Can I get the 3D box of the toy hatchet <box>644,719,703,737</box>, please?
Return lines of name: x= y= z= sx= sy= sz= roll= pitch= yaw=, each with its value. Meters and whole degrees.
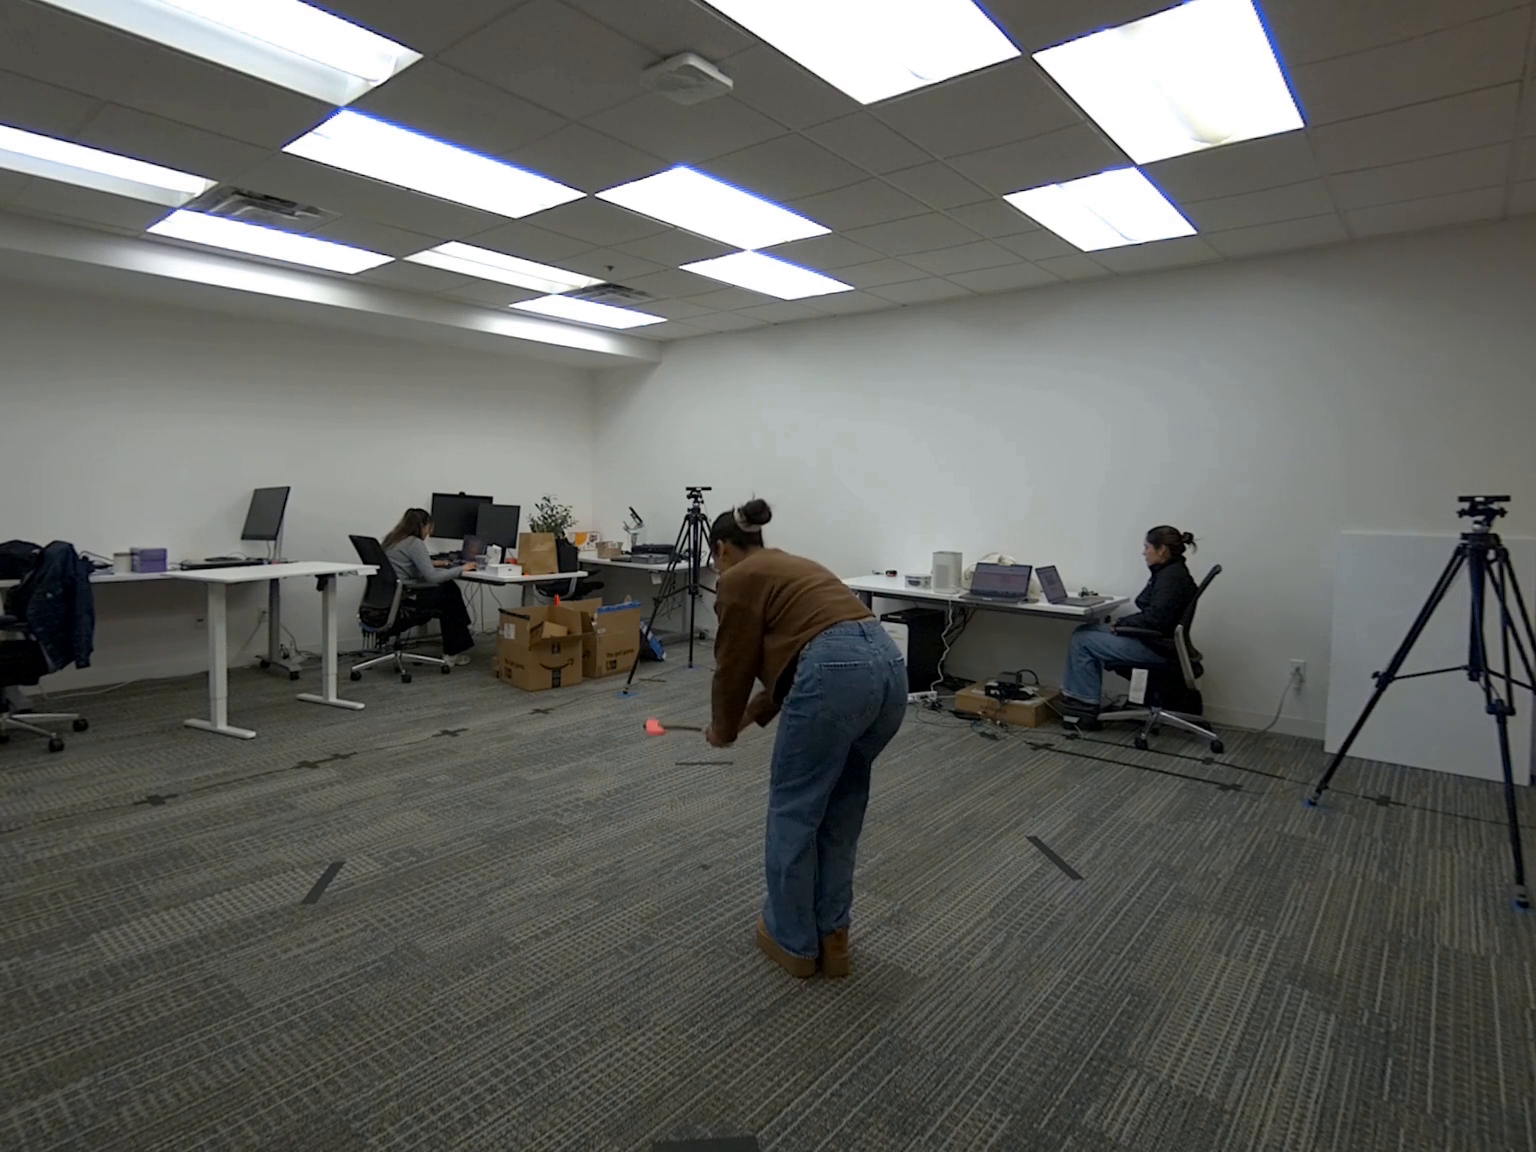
toy hatchet: x=-0.284 y=0.511 z=2.793 sx=0.275 sy=0.029 sz=0.129 roll=2 pitch=9 yaw=17
